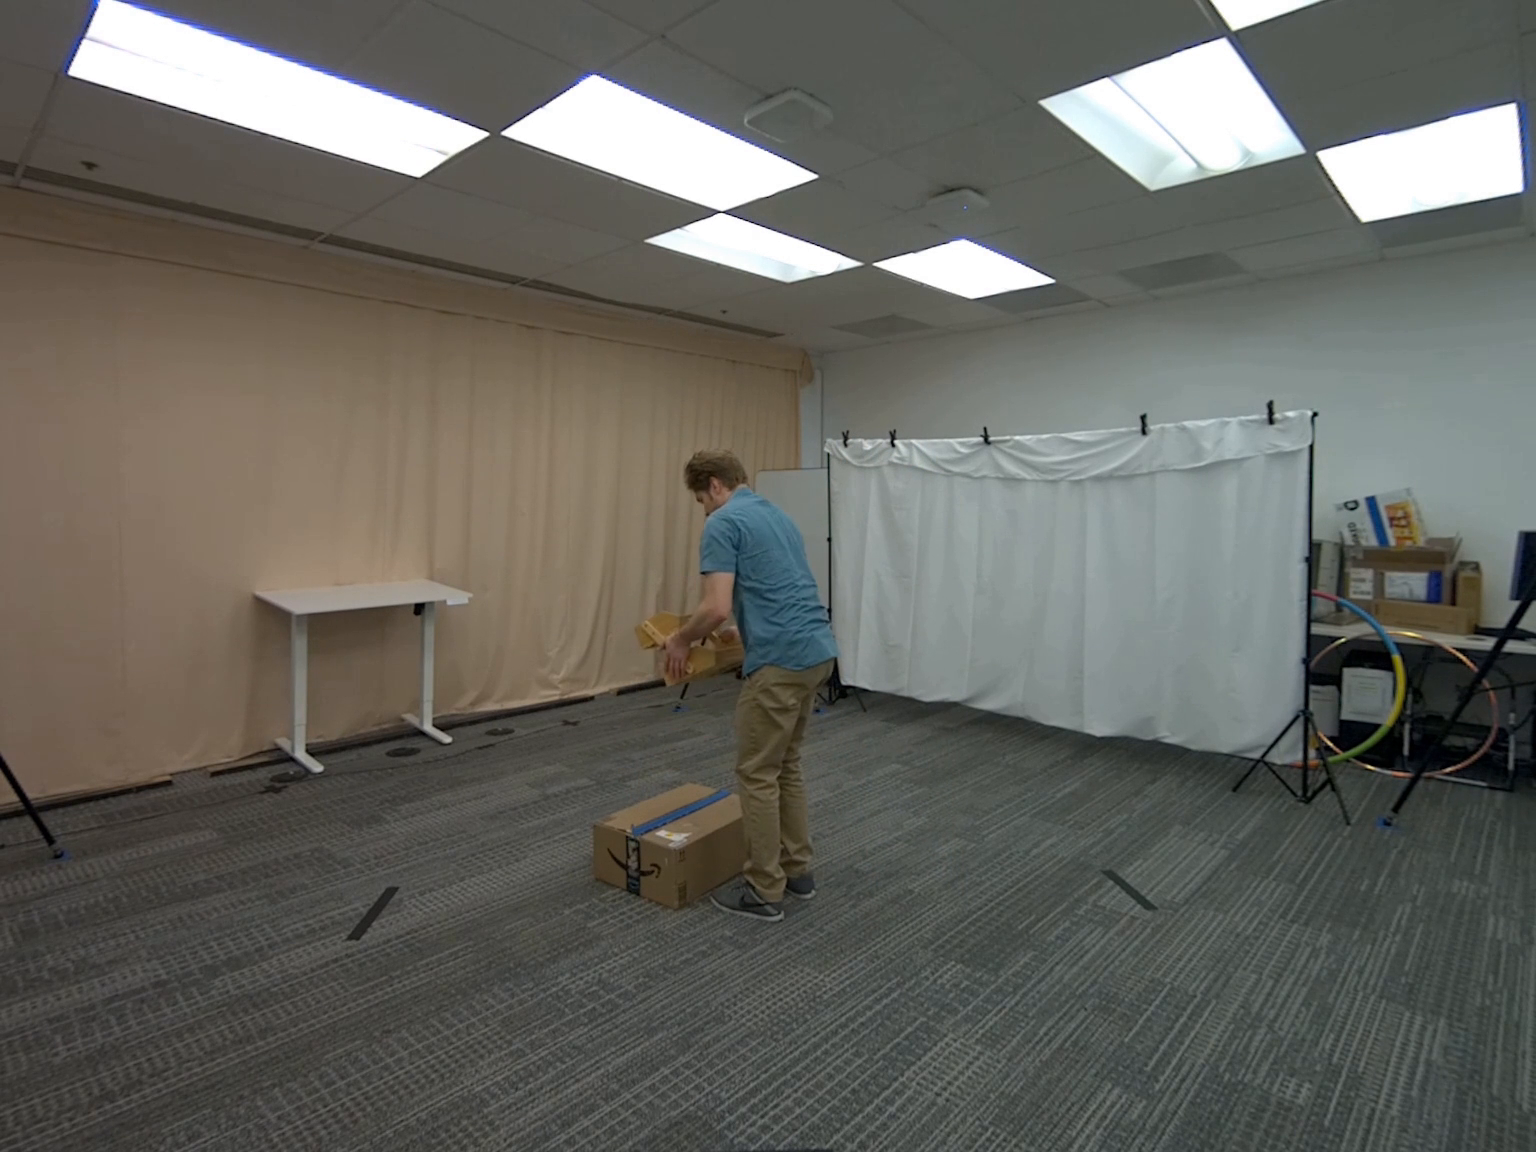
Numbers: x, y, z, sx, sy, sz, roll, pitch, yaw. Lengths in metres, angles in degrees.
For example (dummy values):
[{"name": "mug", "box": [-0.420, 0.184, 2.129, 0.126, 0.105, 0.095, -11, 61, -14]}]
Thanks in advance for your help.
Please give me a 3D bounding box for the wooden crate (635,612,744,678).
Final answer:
[{"name": "wooden crate", "box": [-0.264, 0.241, 3.175, 0.307, 0.277, 0.315, -29, -15, 28]}]
